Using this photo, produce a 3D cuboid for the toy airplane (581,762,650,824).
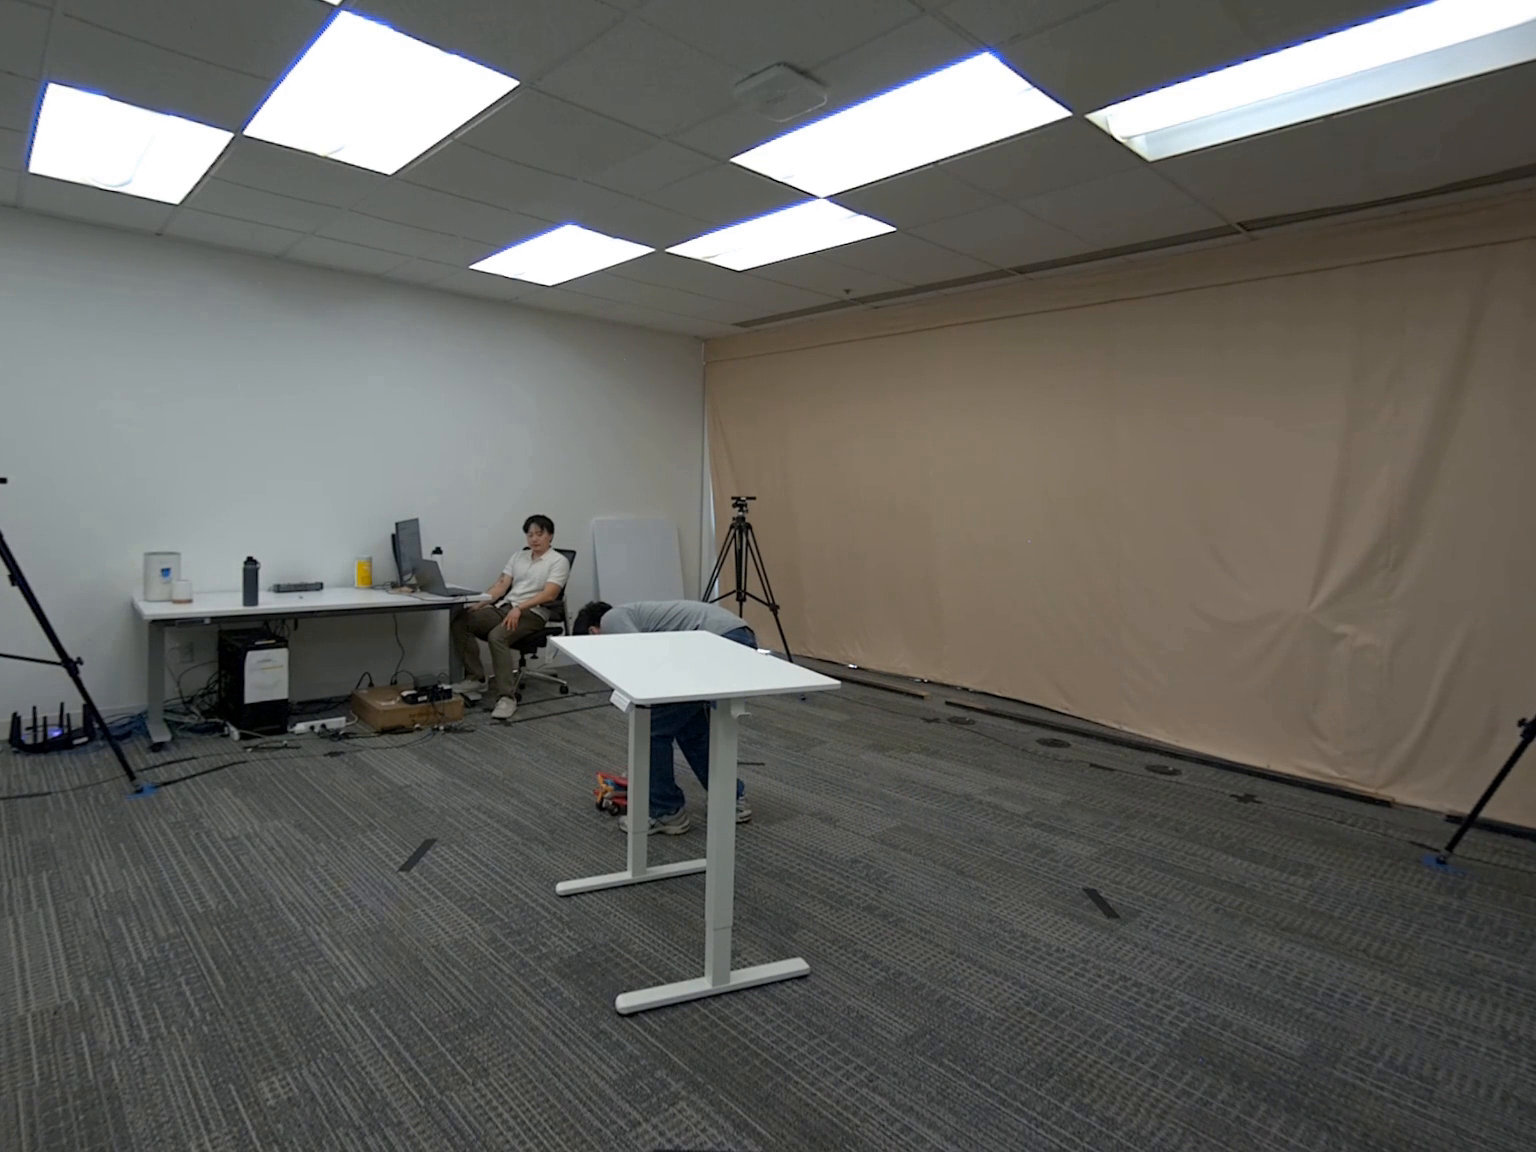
[{"bbox_3d":[-0.662,0.958,3.765,0.253,0.156,0.257,2,6,11],"label":"toy airplane"}]
